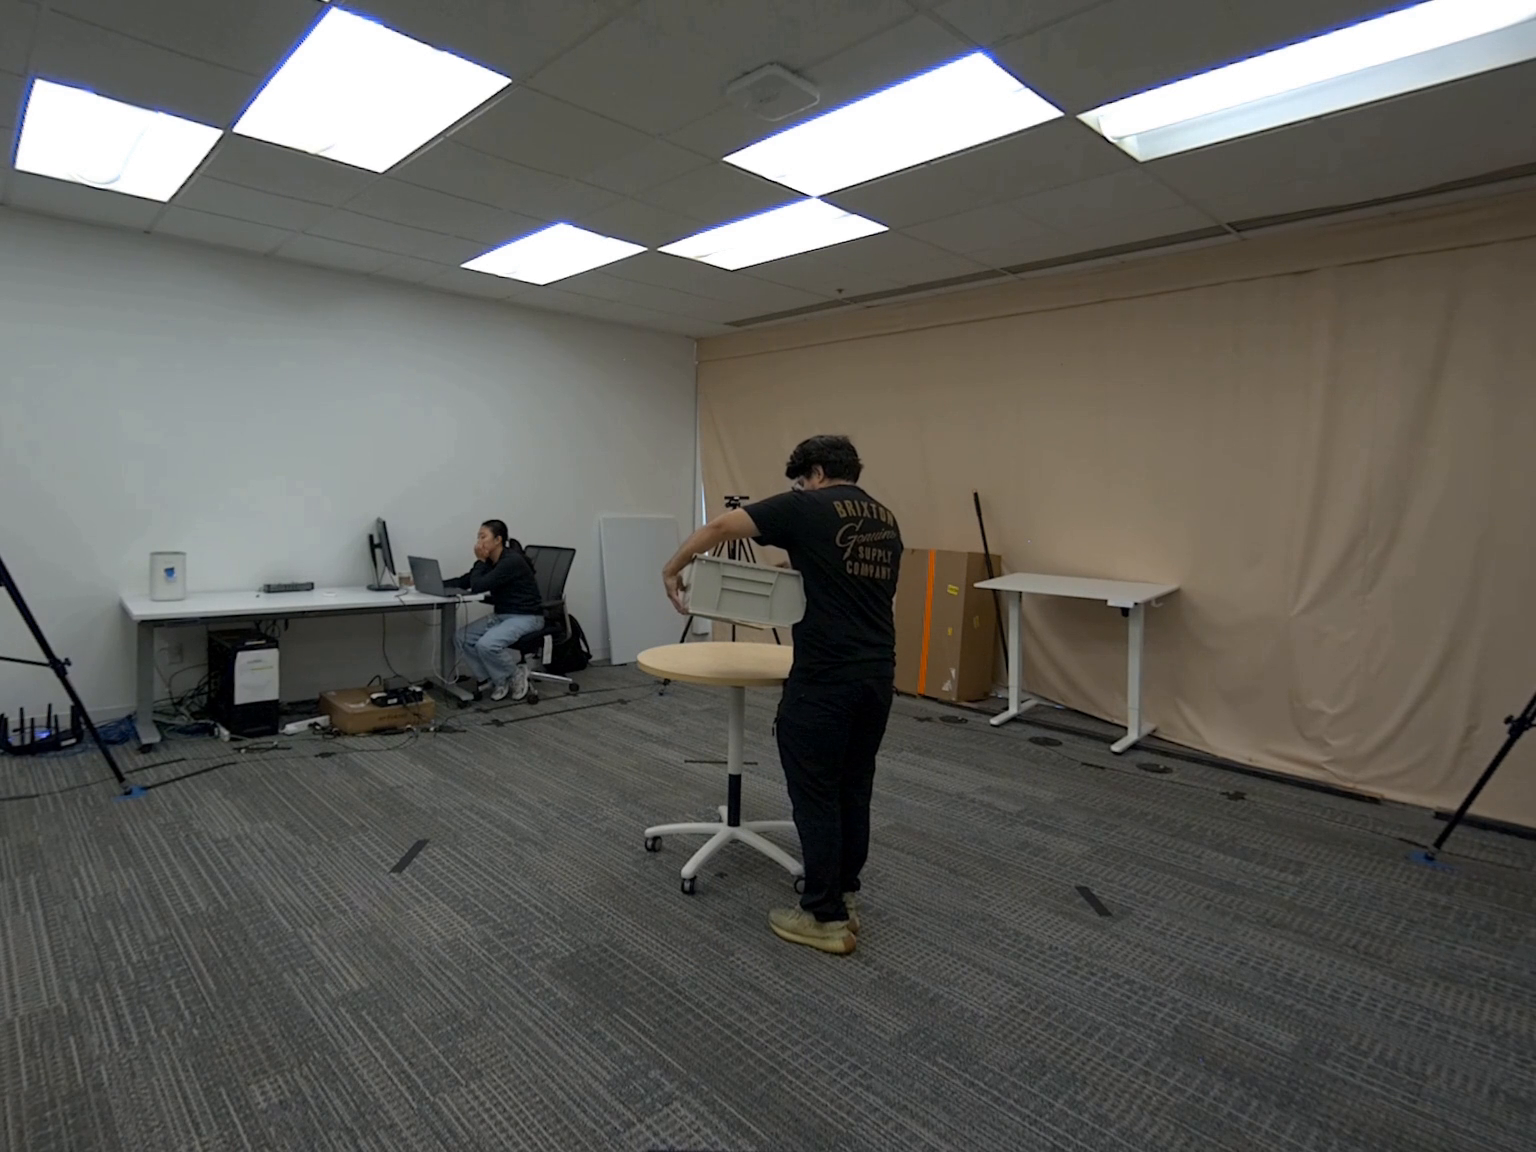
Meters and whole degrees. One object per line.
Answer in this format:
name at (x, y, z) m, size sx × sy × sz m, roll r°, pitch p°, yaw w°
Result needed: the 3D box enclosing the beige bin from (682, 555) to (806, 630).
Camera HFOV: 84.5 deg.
beige bin at (-0.092, 0.065, 2.766) m, size 0.374 × 0.189 × 0.425 m, roll 11°, pitch -4°, yaw -11°
